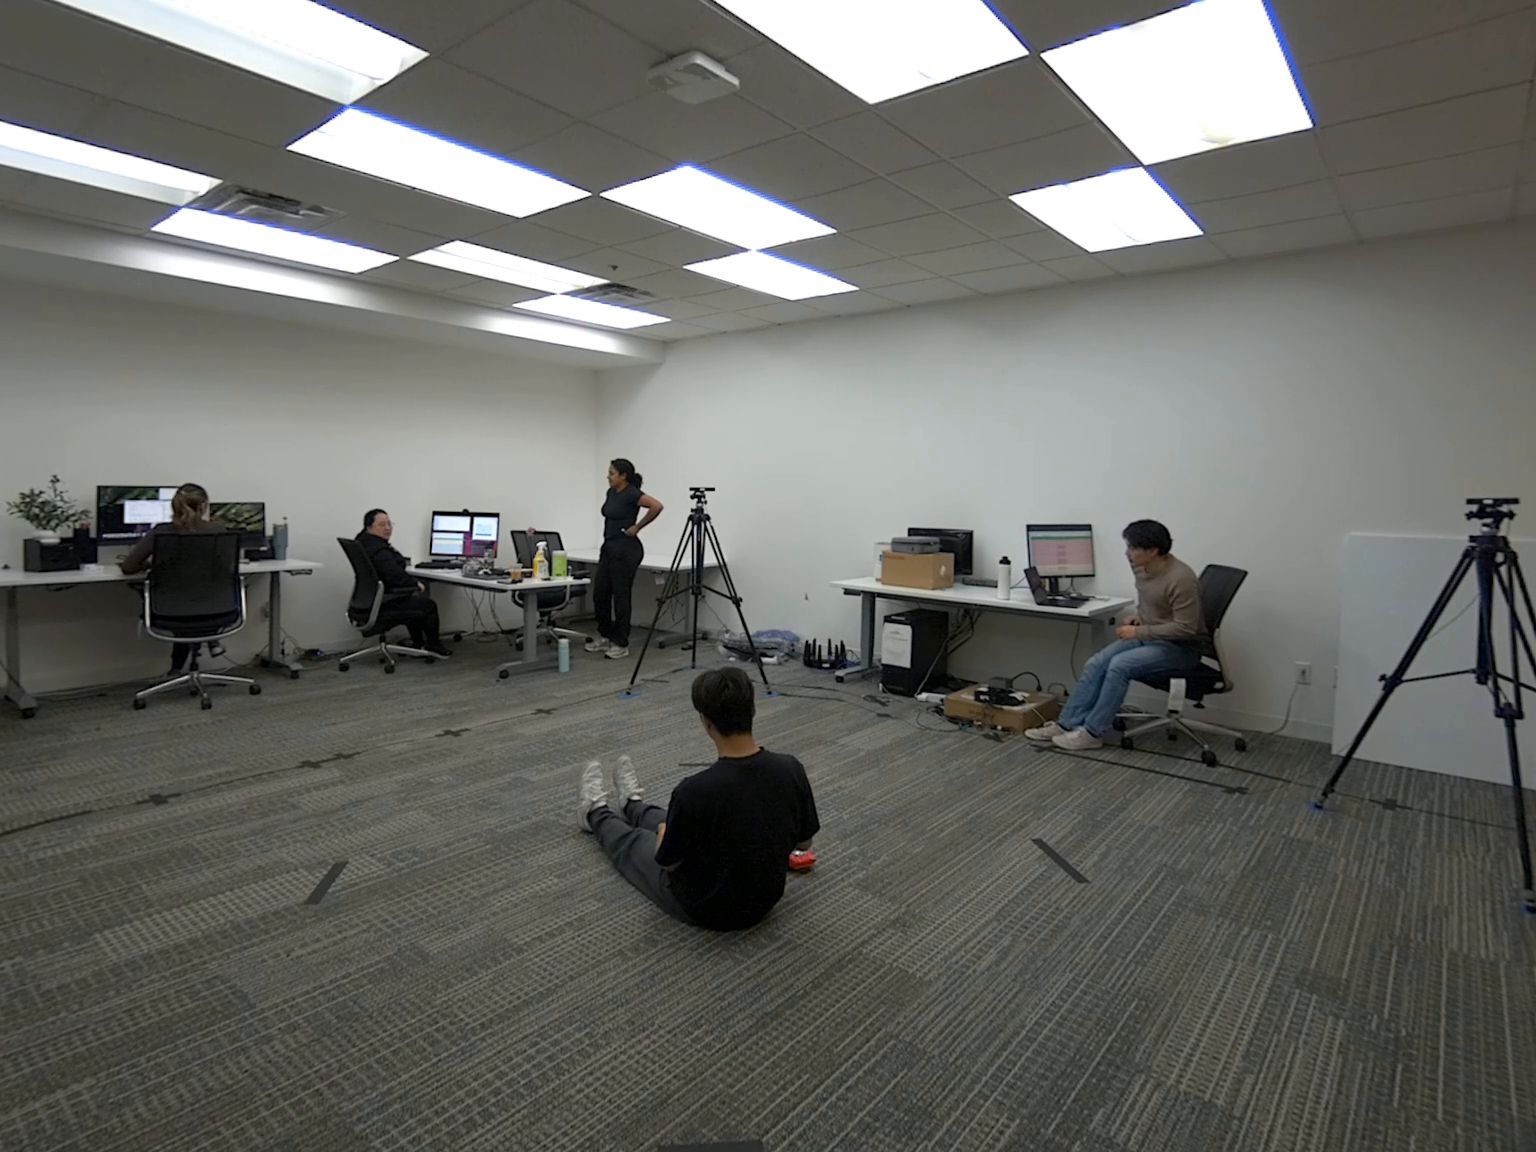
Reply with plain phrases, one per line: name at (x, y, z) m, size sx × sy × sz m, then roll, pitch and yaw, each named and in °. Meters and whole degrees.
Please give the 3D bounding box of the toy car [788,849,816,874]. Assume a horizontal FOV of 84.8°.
toy car at (0.076, 1.036, 3.179) m, size 0.127 × 0.084 × 0.260 m, roll 0°, pitch -5°, yaw -29°
